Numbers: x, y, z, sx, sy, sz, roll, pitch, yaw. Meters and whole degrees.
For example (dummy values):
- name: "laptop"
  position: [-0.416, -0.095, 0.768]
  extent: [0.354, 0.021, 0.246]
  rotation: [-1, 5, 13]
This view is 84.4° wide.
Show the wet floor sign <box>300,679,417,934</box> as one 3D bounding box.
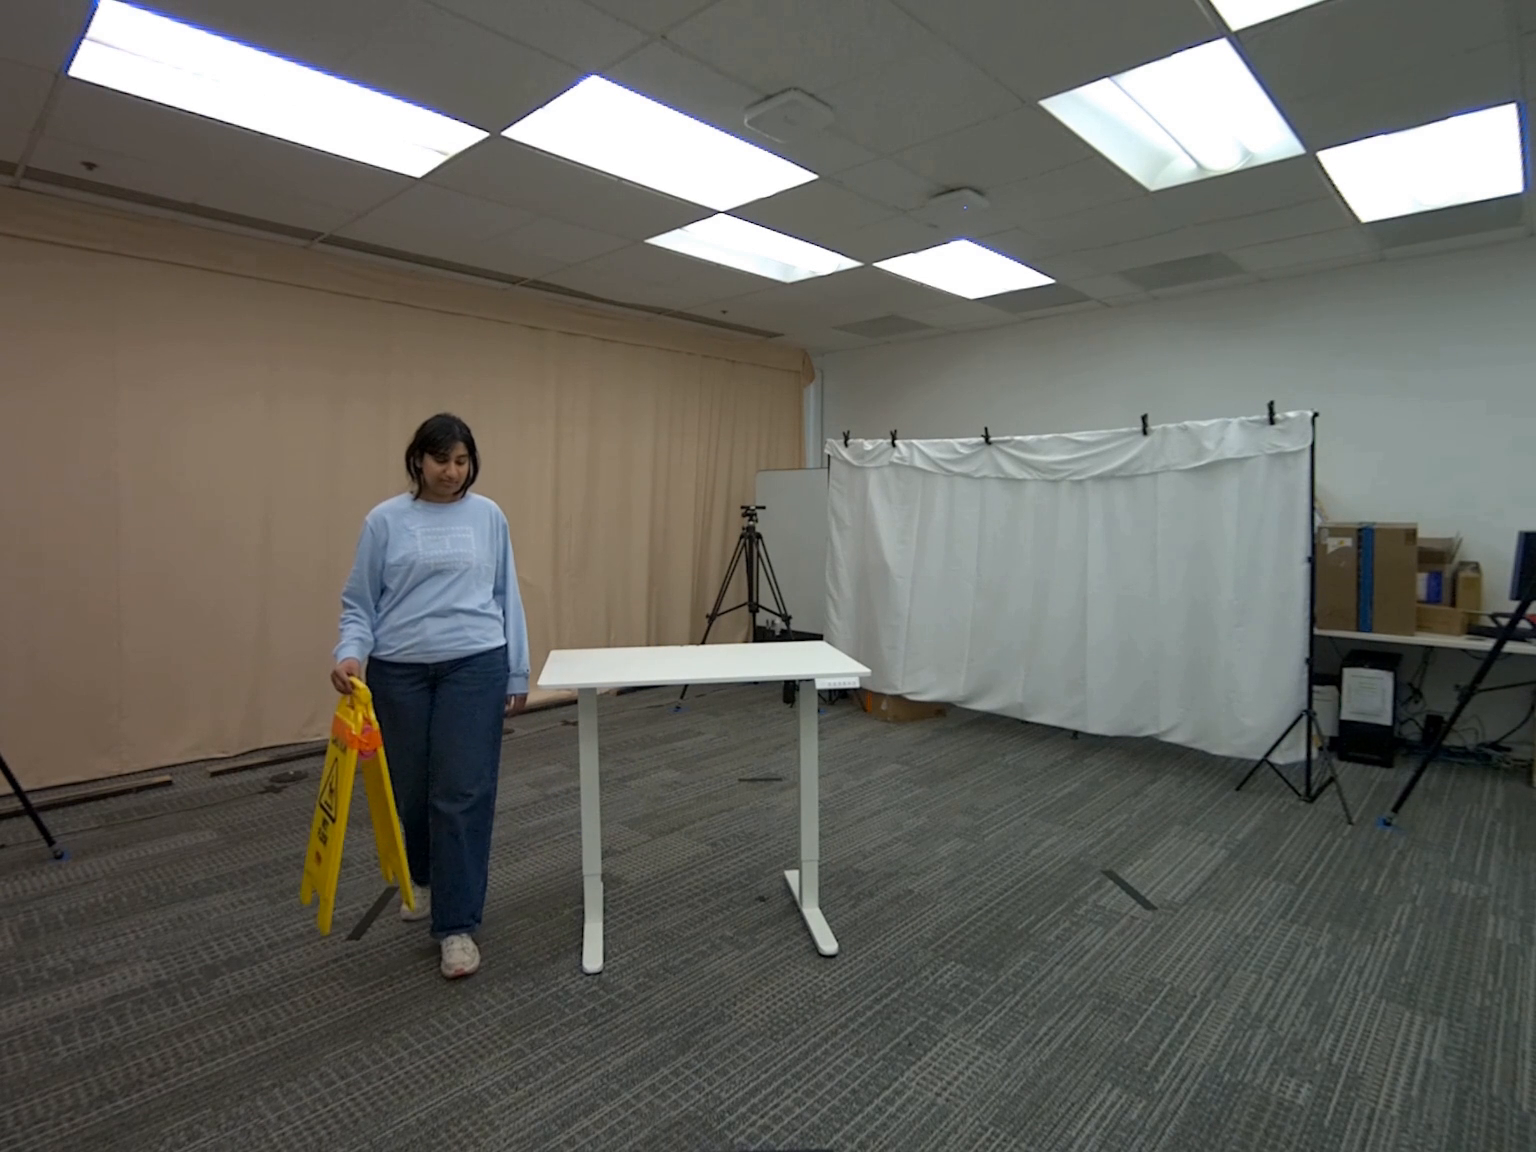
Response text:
- name: "wet floor sign"
  position: [-1.158, 0.614, 2.387]
  extent: [0.281, 0.644, 0.291]
  rotation: [-4, 5, -39]
